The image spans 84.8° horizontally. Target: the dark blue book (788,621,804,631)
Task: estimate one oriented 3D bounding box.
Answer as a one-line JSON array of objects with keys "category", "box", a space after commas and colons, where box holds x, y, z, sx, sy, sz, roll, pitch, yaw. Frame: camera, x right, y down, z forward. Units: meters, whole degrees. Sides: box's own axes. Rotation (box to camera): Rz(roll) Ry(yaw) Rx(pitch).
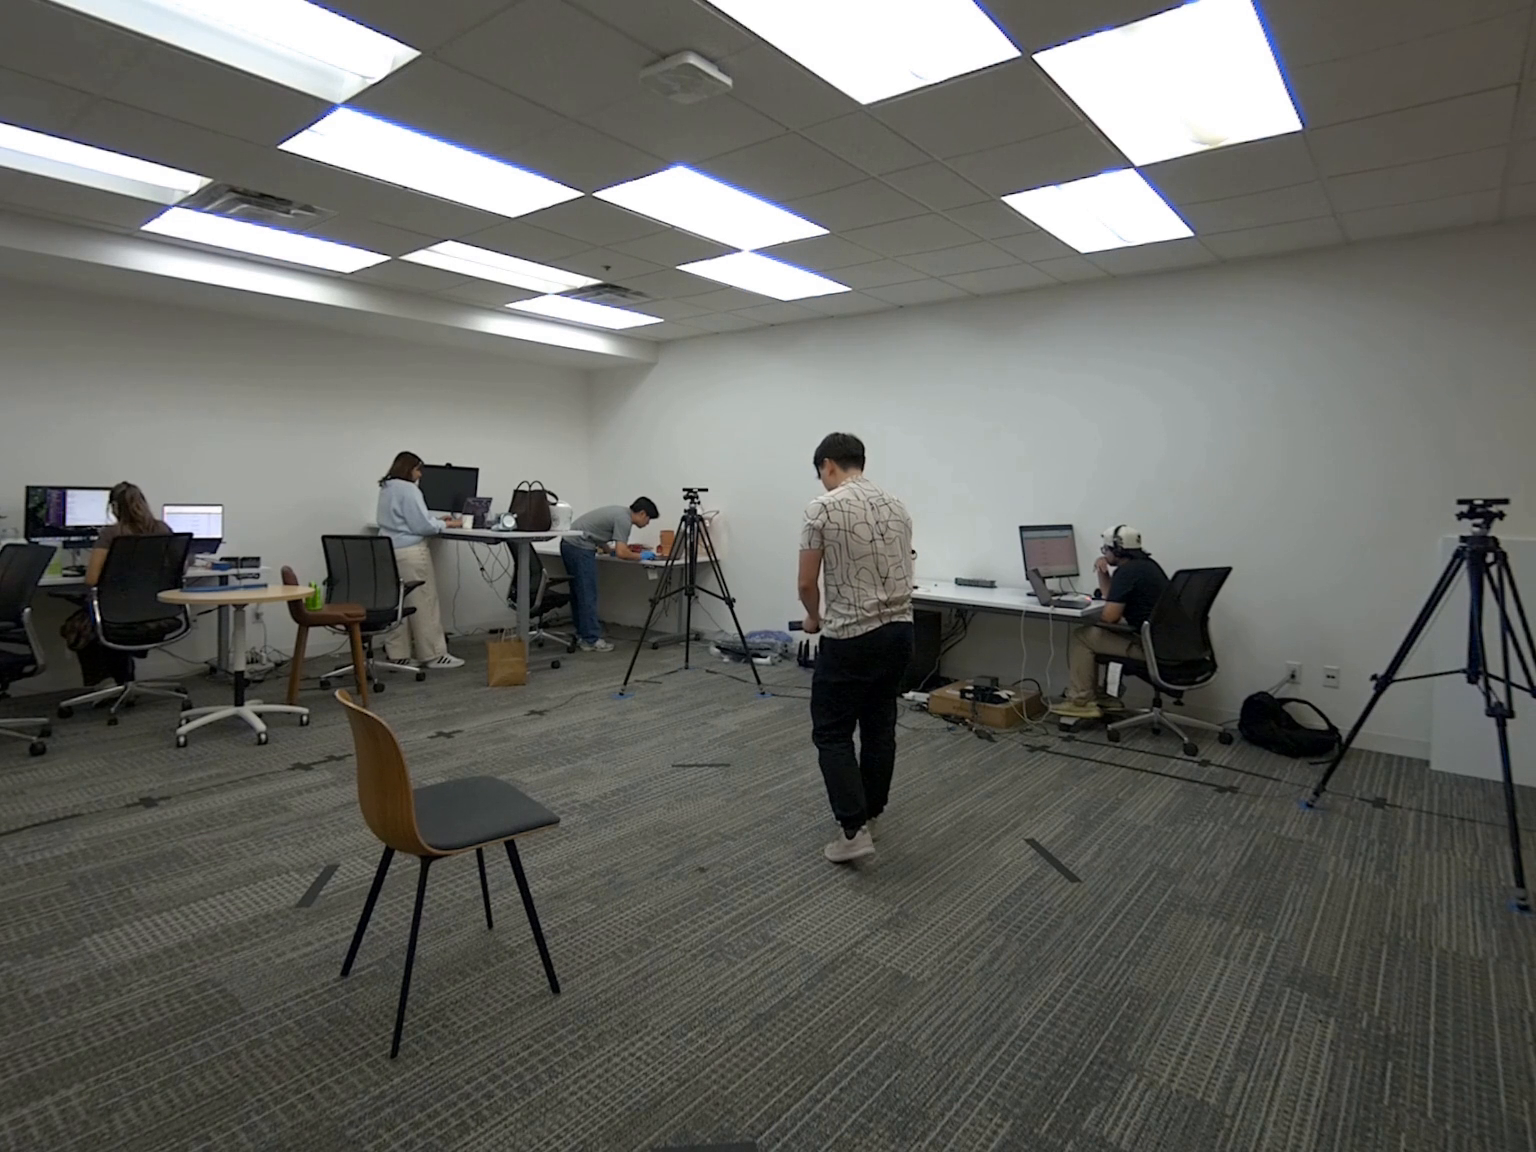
[{"category": "dark blue book", "box": [0.199, 0.201, 3.632, 0.160, 0.045, 0.250, -2, -2, -25]}]
